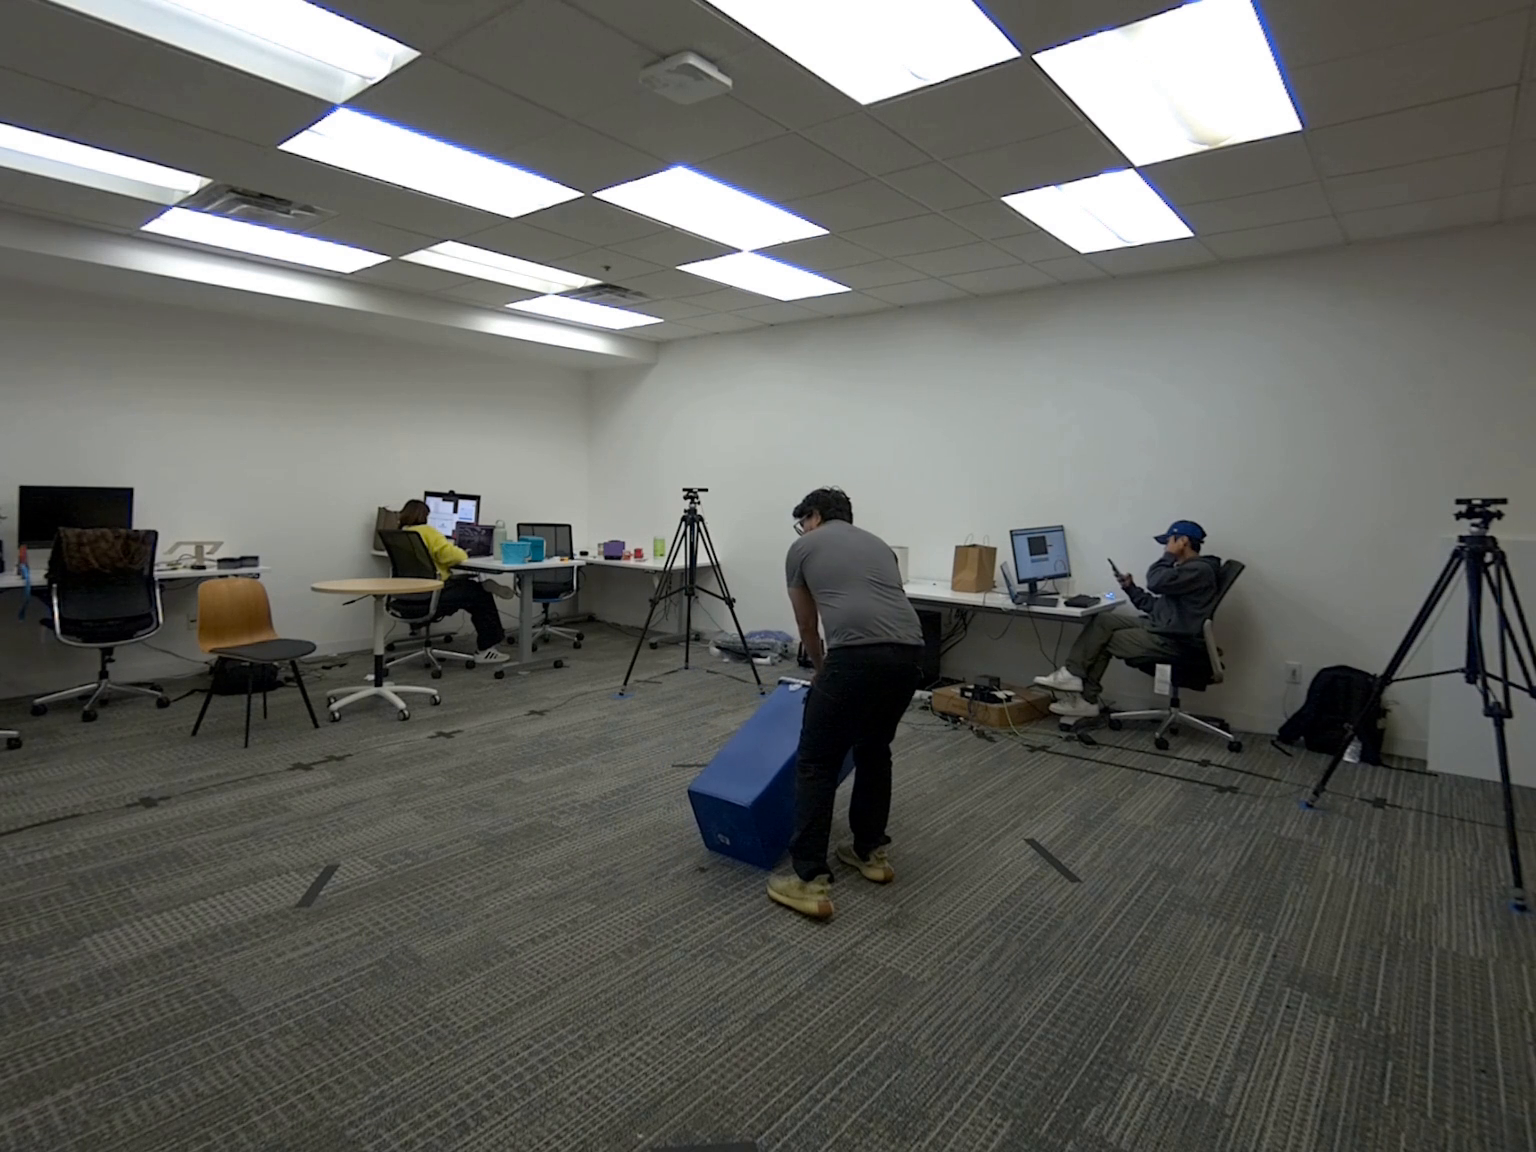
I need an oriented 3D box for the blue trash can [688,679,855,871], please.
[{"bbox_3d":[0.021,0.766,3.387,0.386,0.369,0.708,4,30,38],"label":"blue trash can"}]
